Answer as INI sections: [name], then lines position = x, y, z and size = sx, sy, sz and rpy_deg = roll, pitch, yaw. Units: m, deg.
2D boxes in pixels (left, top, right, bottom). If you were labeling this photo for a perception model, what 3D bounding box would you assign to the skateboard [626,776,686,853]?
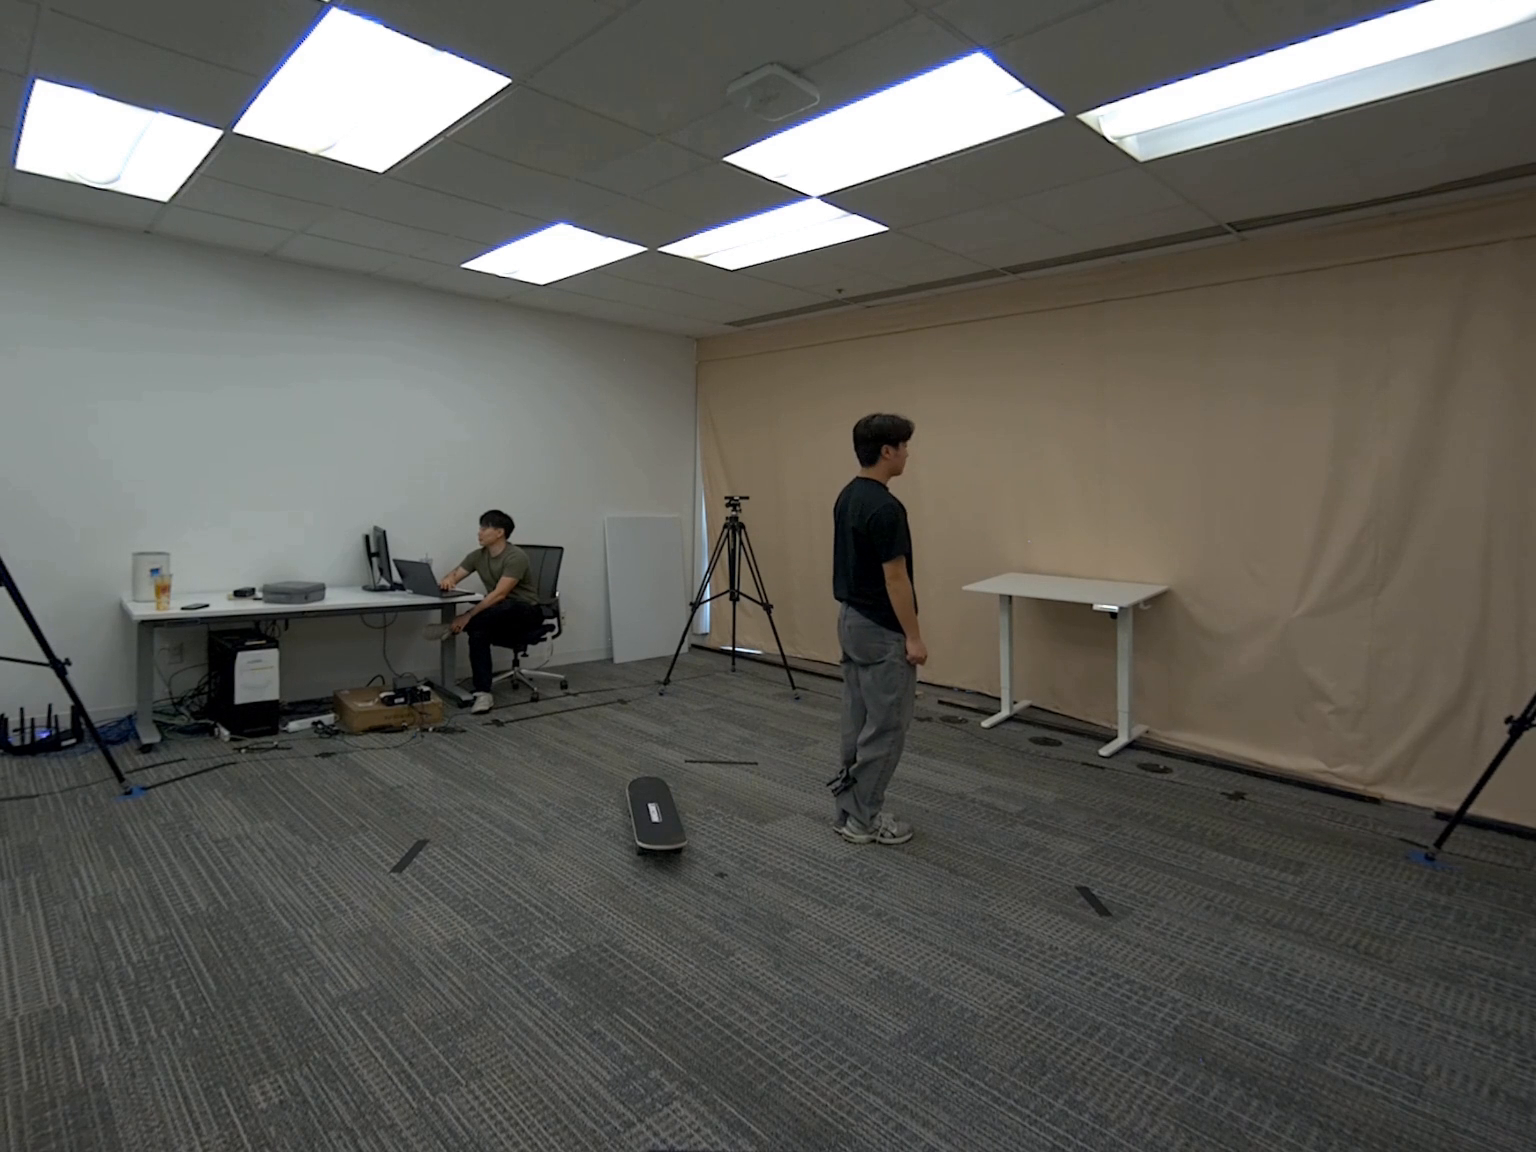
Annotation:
[skateboard]
position = -0.477, 1.008, 3.474
size = 0.192, 0.110, 0.795
rpy_deg = 1, 5, -12
